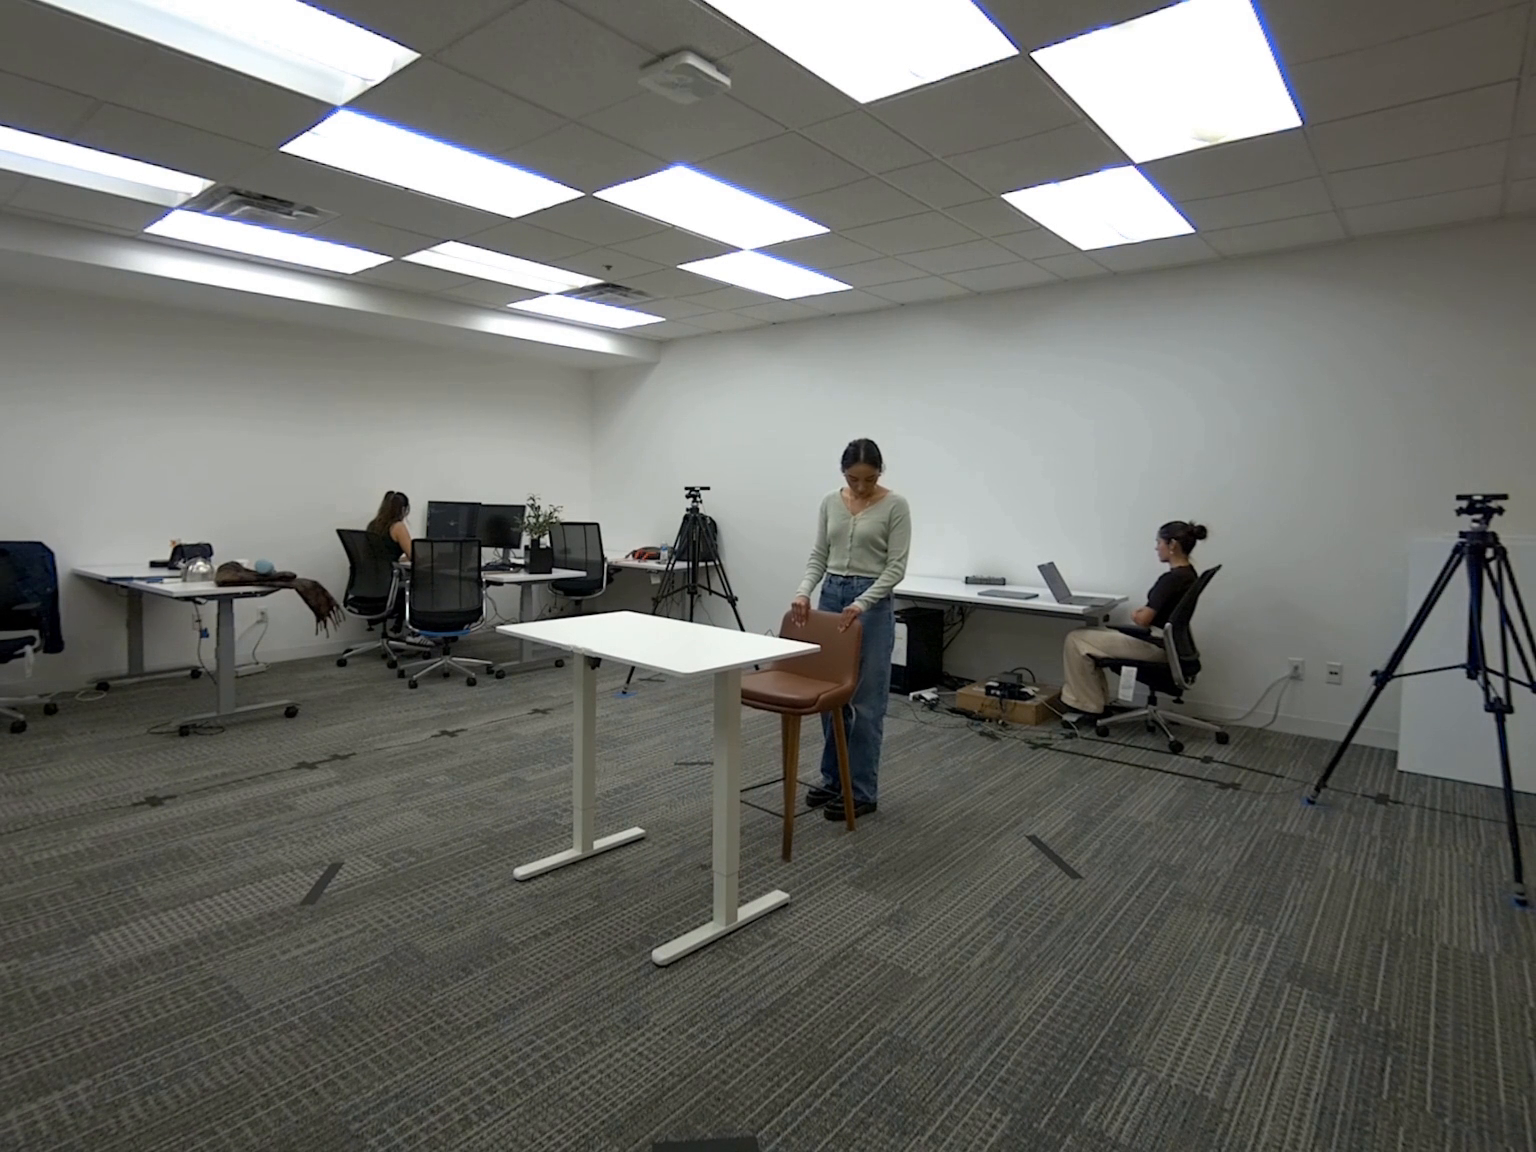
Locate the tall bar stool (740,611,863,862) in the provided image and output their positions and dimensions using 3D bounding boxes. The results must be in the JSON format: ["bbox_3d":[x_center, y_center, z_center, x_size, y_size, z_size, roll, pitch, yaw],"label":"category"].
[{"bbox_3d":[0.081,0.593,3.453,0.472,0.888,0.453,4,3,45],"label":"tall bar stool"}]
